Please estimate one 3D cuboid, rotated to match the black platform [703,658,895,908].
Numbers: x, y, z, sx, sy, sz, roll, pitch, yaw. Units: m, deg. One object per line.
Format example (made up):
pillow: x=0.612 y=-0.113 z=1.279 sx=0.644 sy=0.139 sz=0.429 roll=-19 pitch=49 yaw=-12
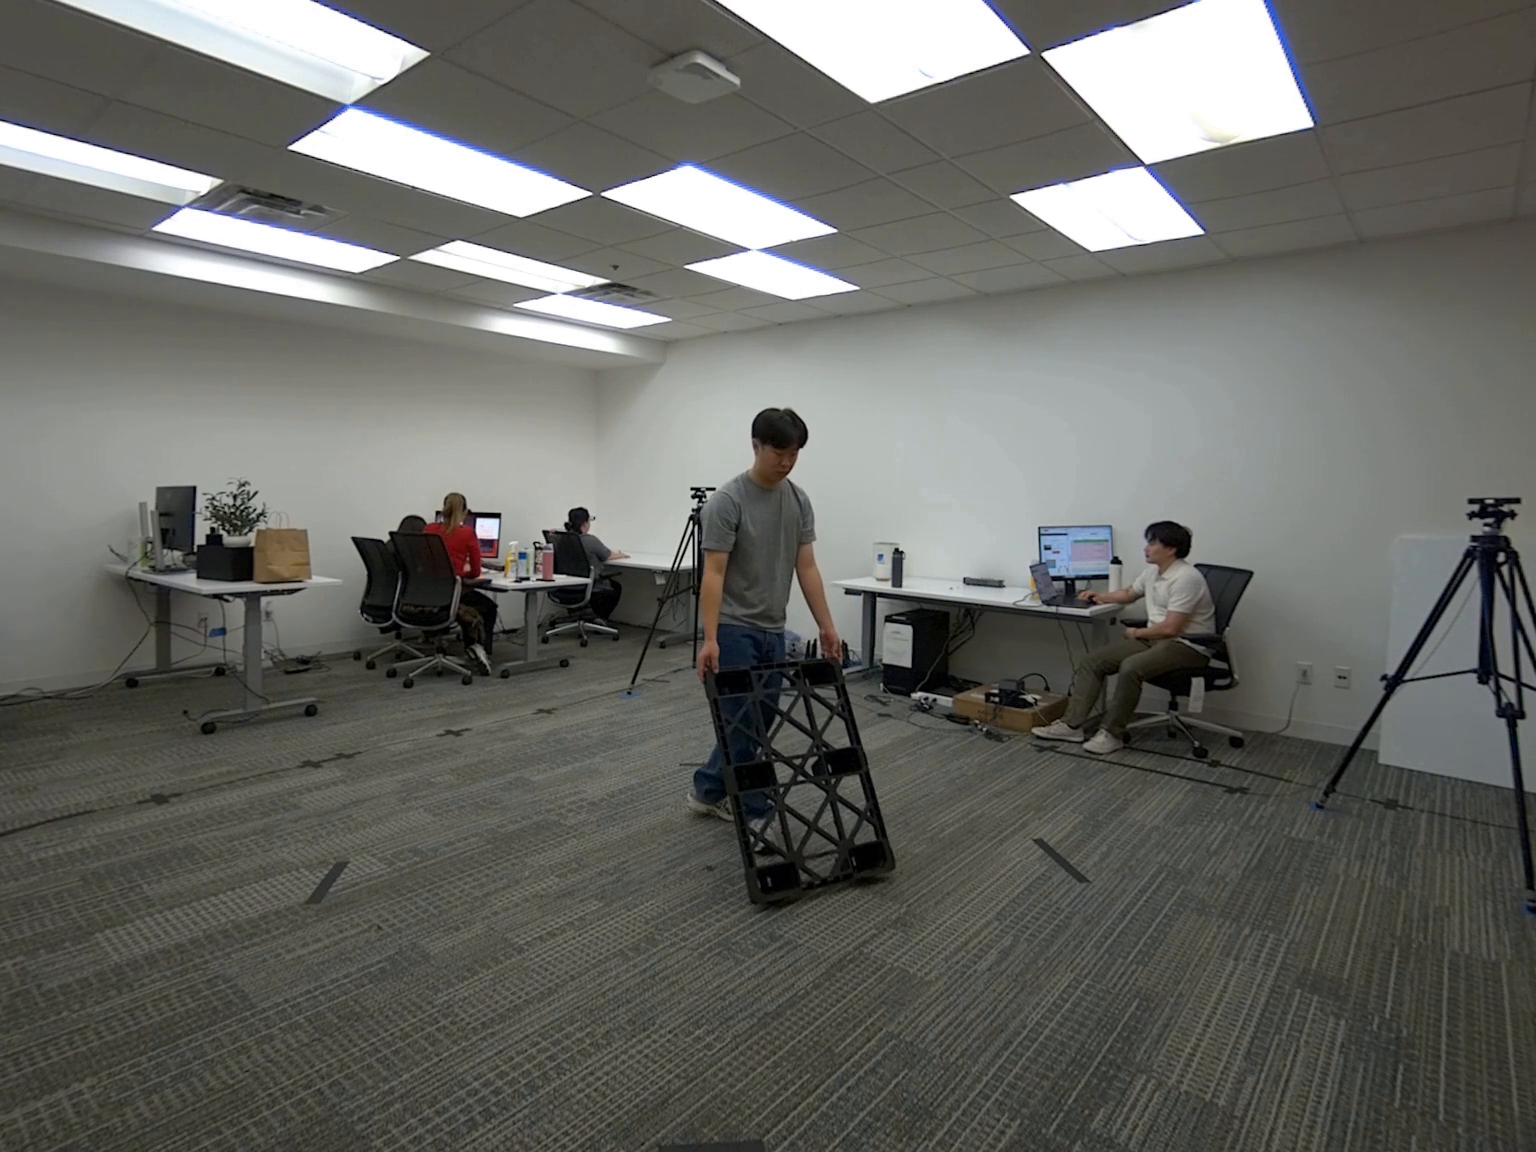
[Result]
black platform: x=0.082 y=0.718 z=3.116 sx=0.589 sy=0.825 sz=0.143 roll=-1 pitch=-24 yaw=-29
